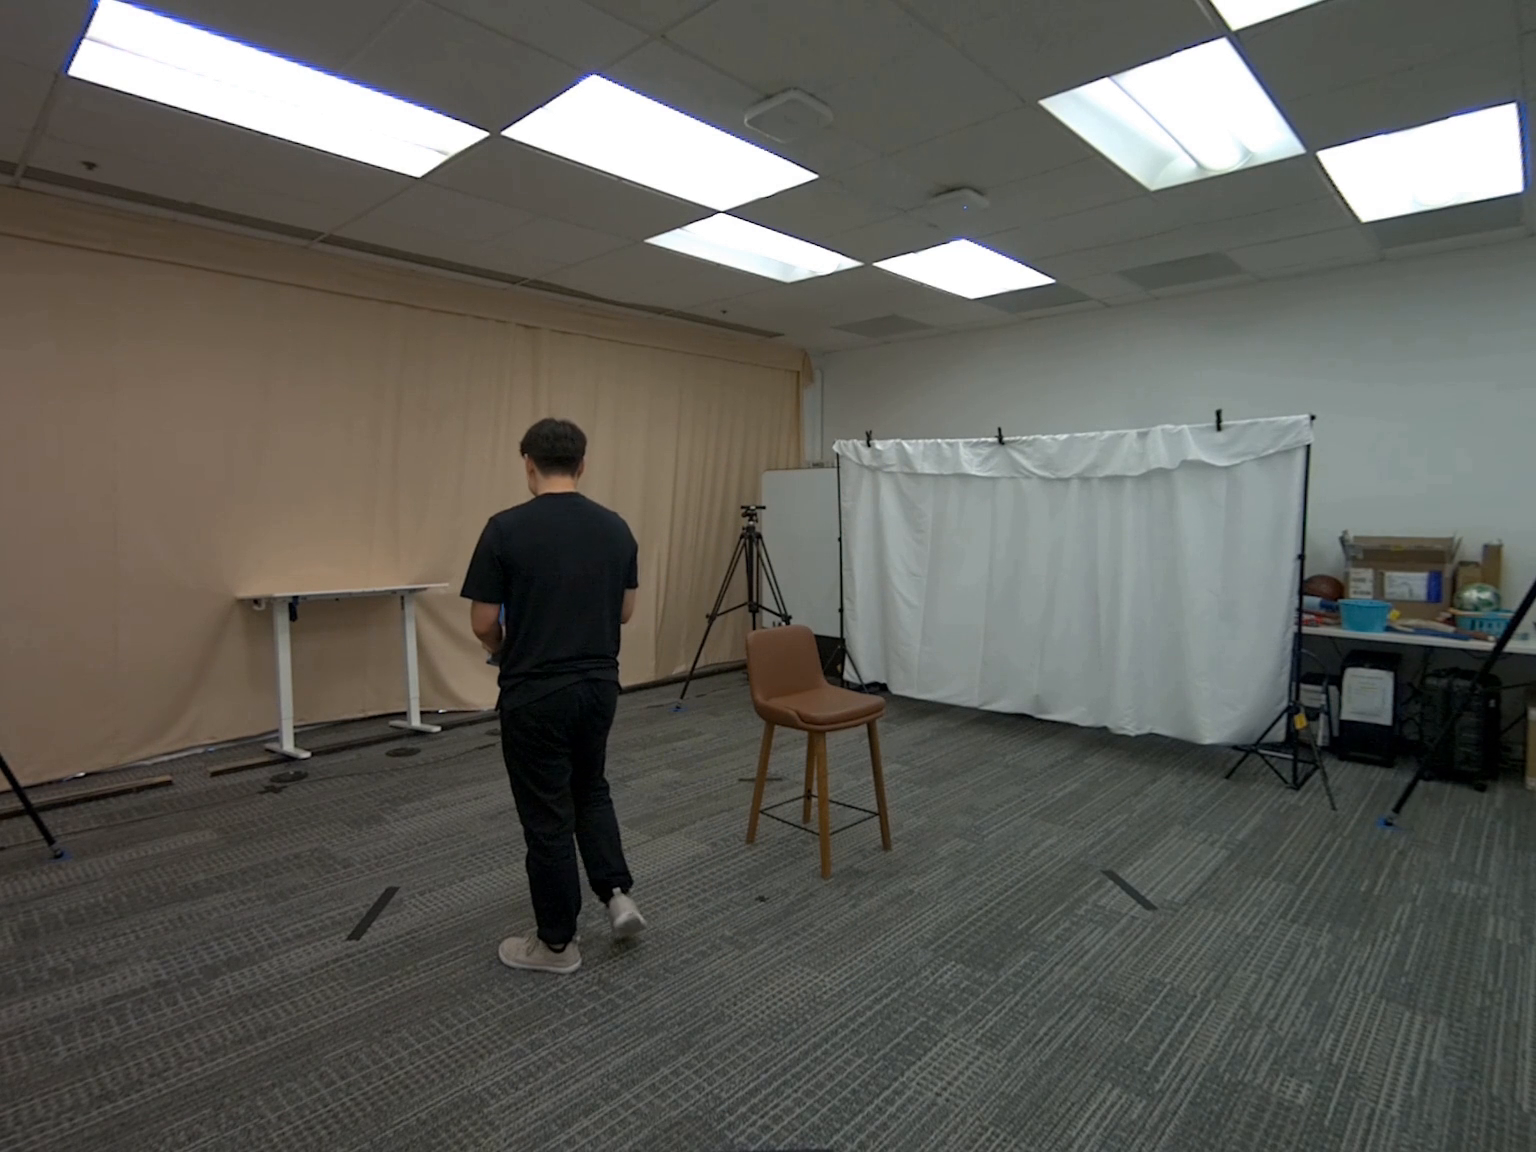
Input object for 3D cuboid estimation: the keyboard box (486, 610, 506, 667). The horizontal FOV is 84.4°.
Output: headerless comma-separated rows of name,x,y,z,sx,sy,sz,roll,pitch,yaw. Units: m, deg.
keyboard box,-0.791,0.096,2.791,0.171,0.440,0.060,20,-23,-24
